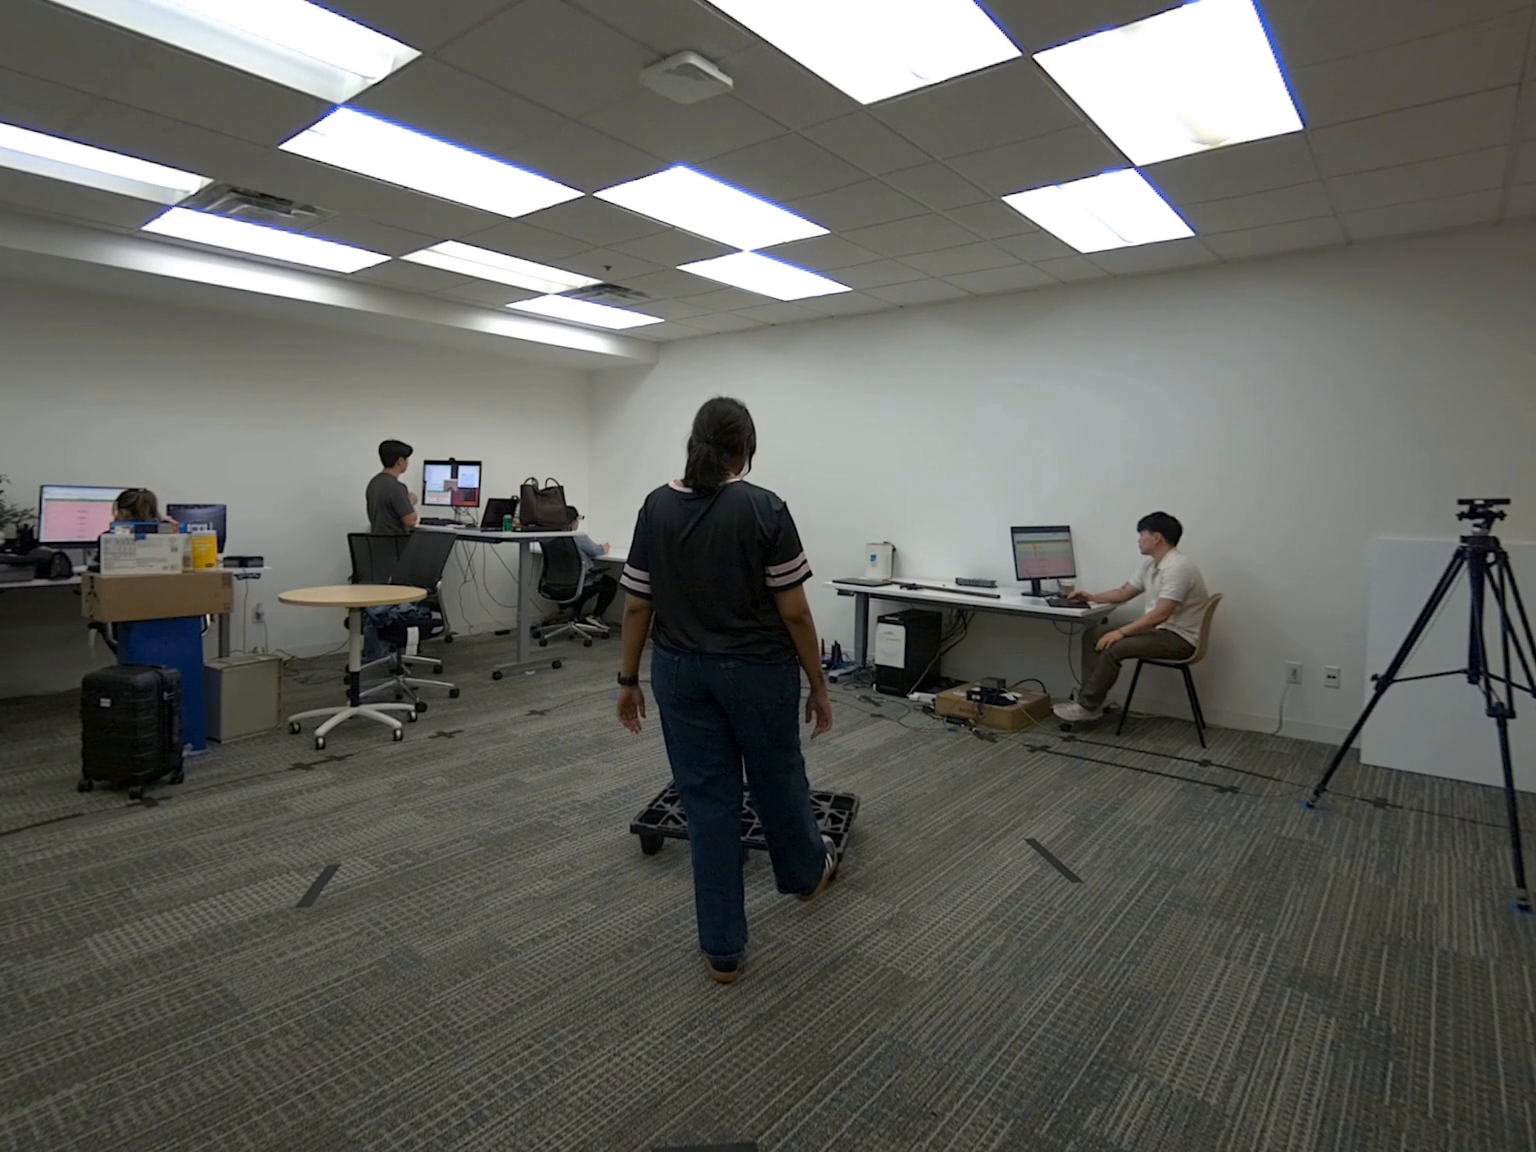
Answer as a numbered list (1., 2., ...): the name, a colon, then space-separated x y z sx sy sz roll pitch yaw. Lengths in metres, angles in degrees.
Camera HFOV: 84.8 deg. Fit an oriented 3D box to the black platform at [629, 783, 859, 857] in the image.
1. black platform: -0.078 0.978 3.352 0.818 0.143 0.598 2 6 14
